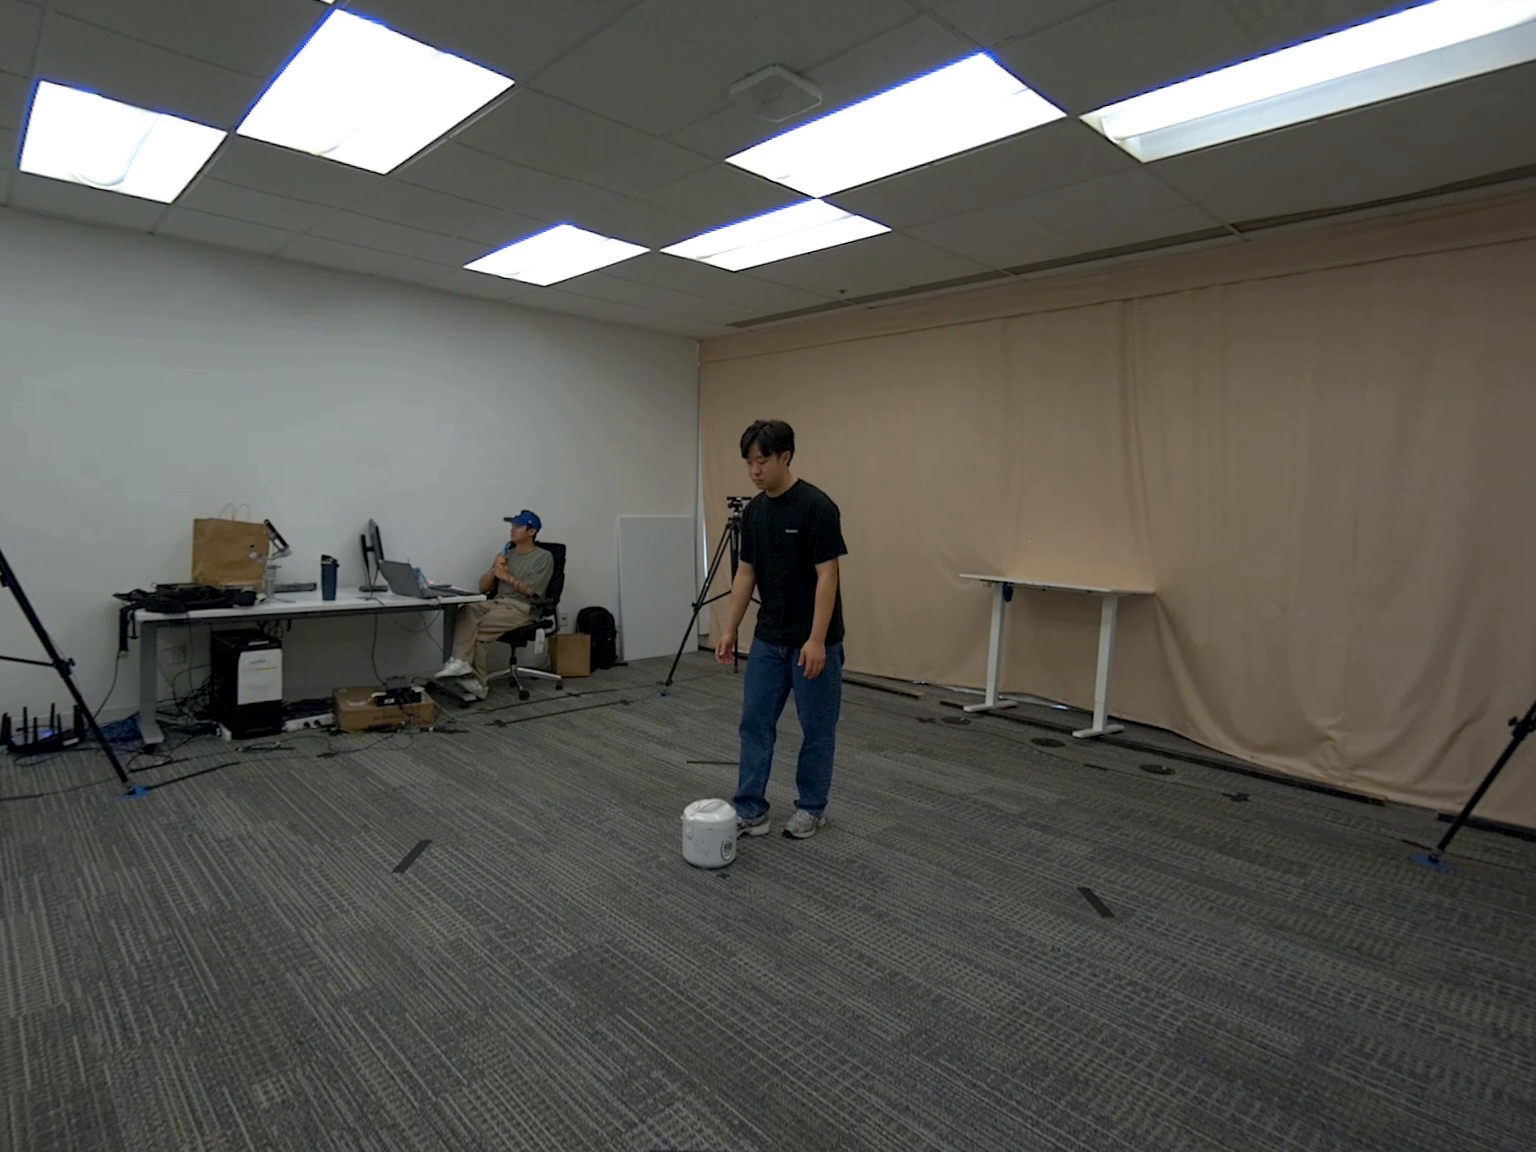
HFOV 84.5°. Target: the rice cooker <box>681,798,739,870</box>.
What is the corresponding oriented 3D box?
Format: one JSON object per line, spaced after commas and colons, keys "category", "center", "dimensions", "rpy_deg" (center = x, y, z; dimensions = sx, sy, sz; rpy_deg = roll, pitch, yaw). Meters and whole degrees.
{"category": "rice cooker", "center": [-0.225, 0.978, 3.230], "dimensions": [0.215, 0.232, 0.223], "rpy_deg": [-2, 4, -42]}
